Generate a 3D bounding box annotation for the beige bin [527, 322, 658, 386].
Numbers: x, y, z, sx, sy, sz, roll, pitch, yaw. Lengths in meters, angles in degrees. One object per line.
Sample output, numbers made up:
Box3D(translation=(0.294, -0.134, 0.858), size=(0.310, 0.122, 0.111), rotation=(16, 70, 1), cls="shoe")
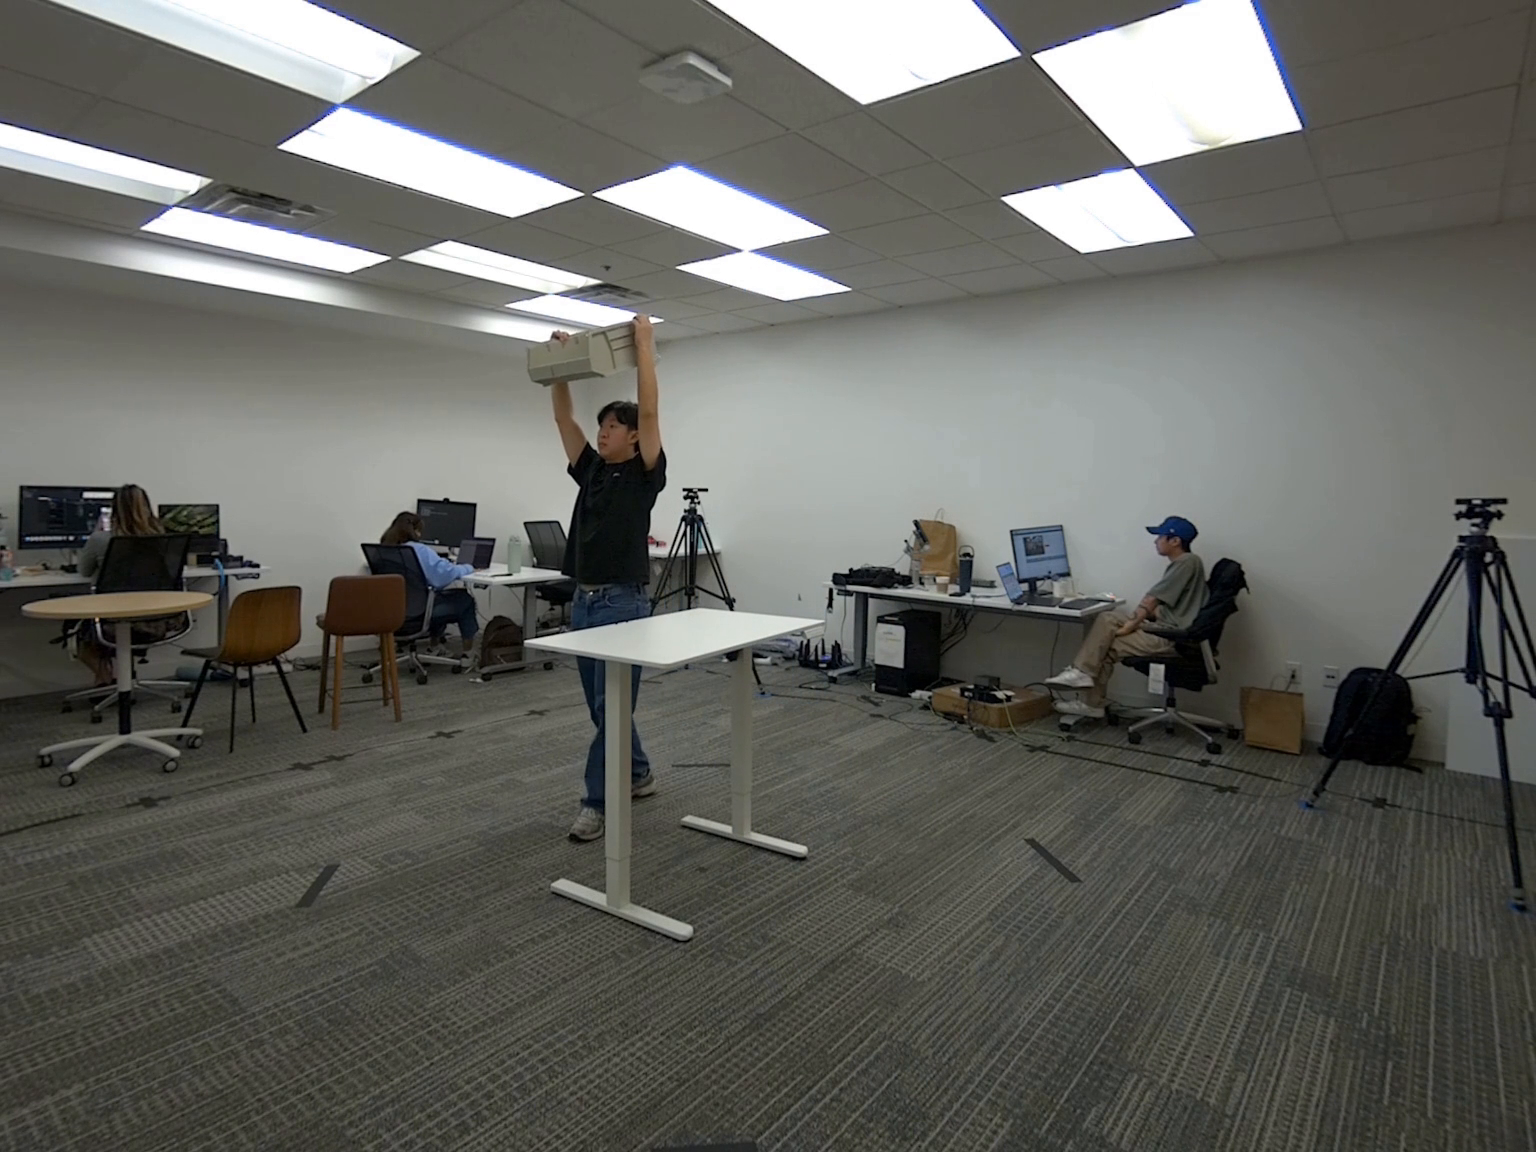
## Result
Box3D(translation=(-0.729, -0.909, 3.461), size=(0.436, 0.185, 0.372), rotation=(3, 25, 42), cls="beige bin")
